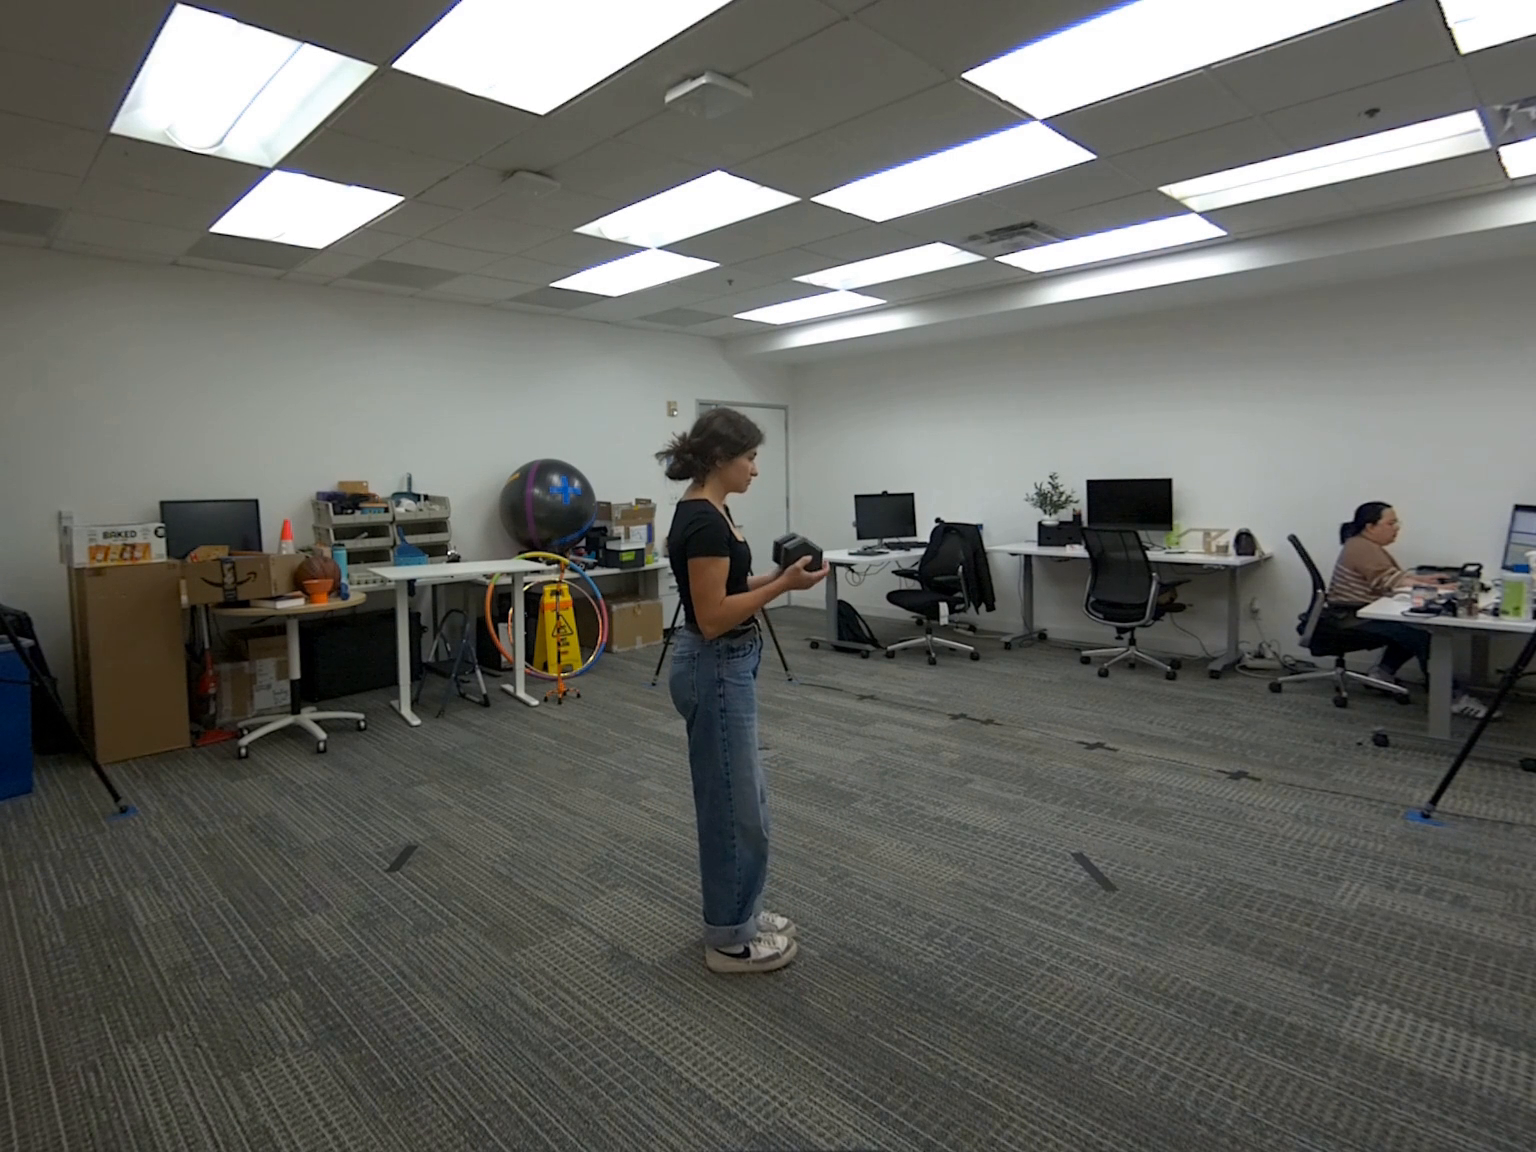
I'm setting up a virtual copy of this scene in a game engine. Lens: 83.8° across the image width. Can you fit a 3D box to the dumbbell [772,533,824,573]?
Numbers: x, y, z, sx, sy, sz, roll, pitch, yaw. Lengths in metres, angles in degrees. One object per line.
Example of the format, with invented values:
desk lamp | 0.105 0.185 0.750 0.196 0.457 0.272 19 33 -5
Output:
dumbbell | 0.081 -0.055 2.454 0.108 0.122 0.295 11 5 -5
